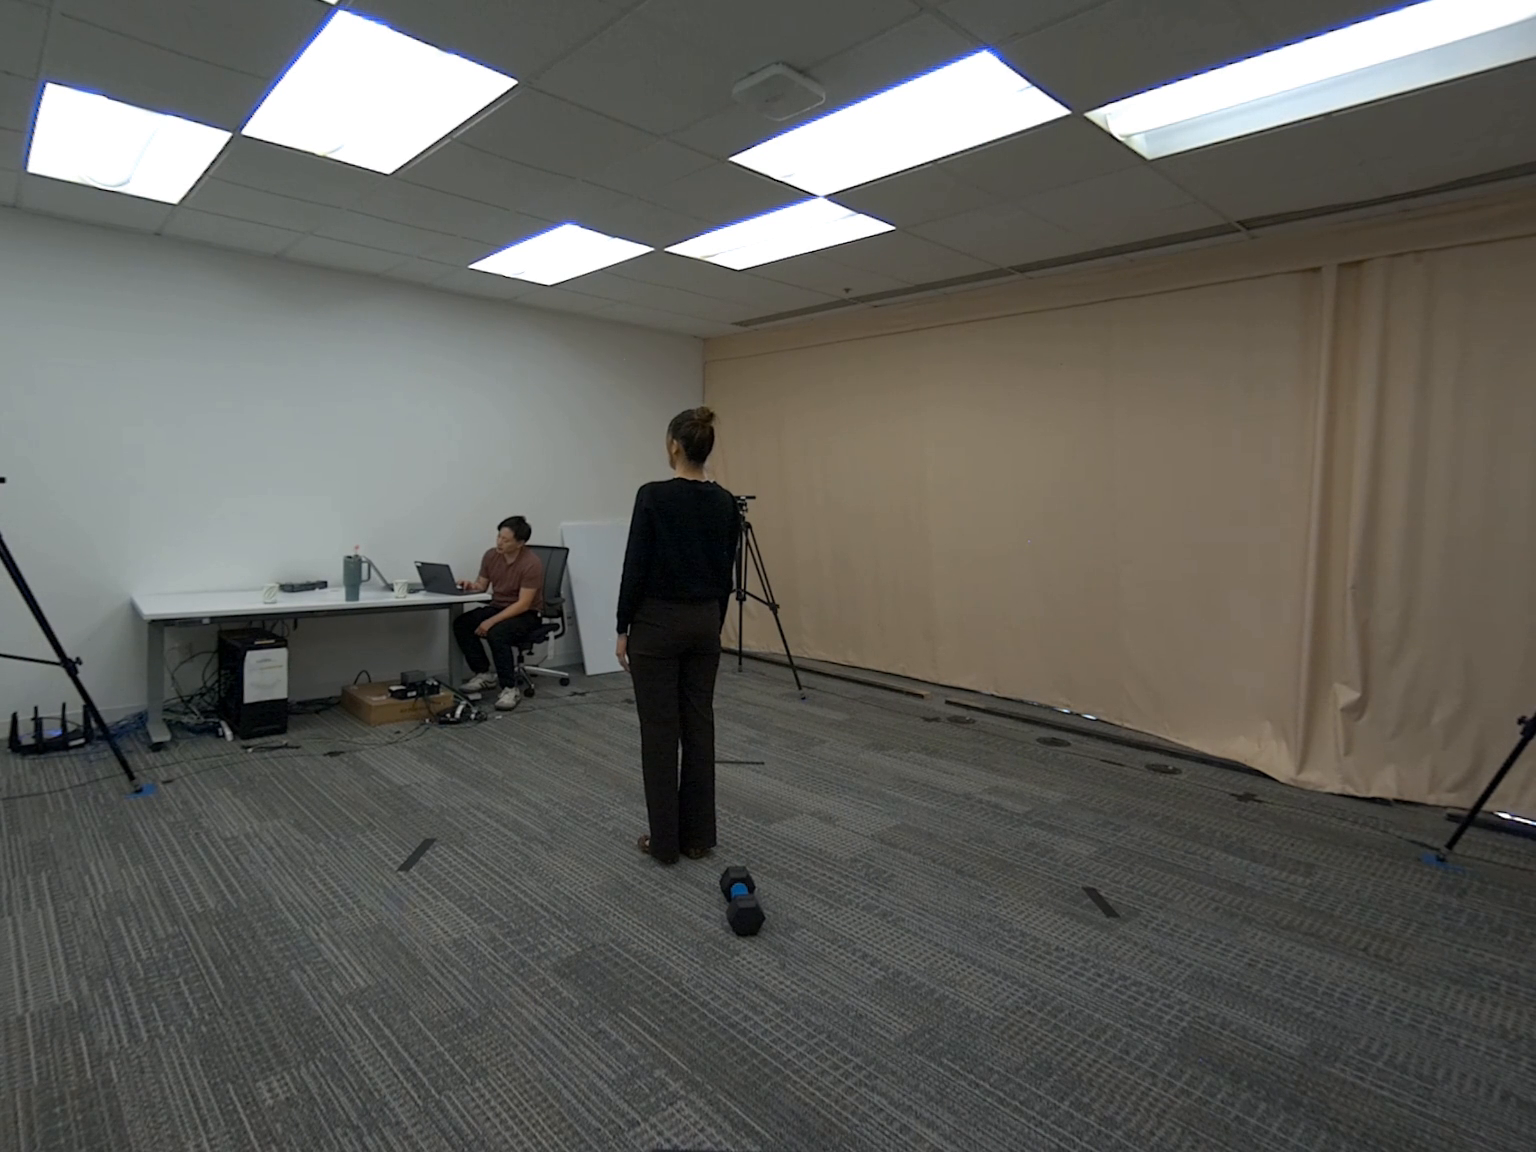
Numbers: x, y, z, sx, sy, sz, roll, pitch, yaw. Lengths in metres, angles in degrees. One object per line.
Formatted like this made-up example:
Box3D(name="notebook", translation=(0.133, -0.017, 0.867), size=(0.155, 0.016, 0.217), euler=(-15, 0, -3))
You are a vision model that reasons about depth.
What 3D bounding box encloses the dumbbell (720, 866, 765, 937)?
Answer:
Box3D(name="dumbbell", translation=(-0.094, 1.082, 2.798), size=(0.108, 0.123, 0.296), euler=(30, 0, -10))
